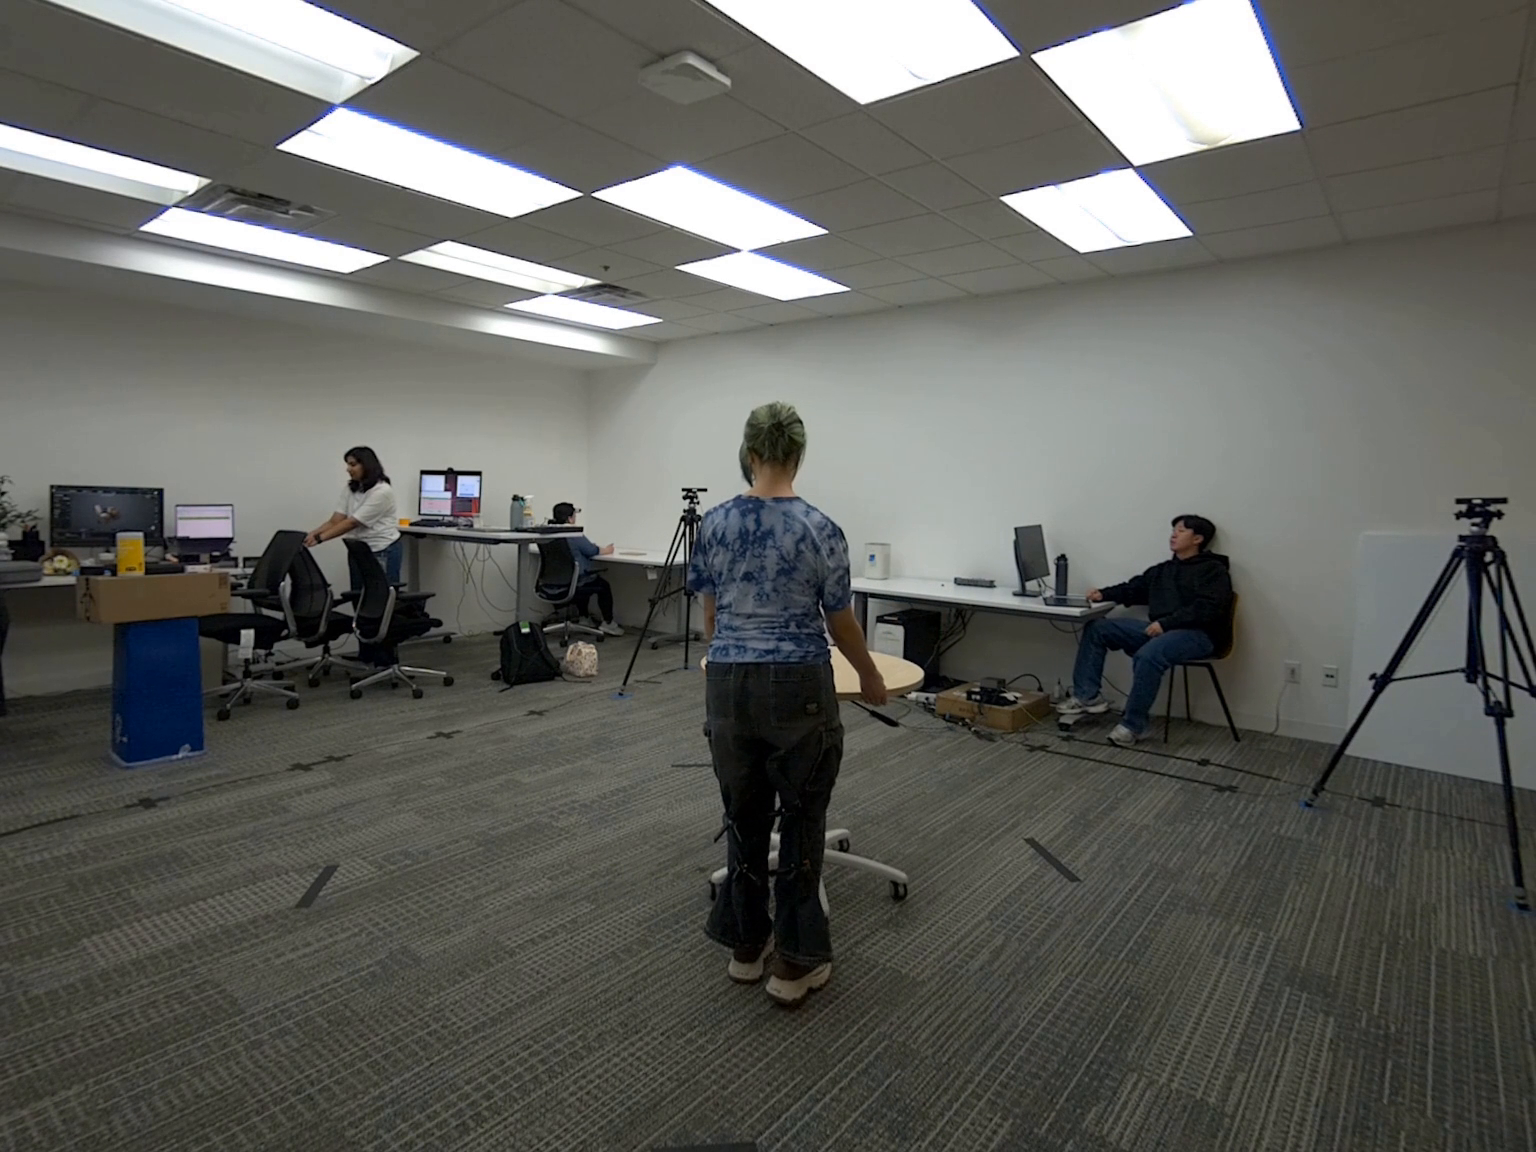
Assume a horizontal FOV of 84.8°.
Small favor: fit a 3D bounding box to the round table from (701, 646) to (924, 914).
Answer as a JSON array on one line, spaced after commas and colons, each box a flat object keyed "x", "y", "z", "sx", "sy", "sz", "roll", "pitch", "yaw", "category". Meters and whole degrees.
[{"x": 0.124, "y": 0.698, "z": 2.978, "sx": 0.763, "sy": 0.791, "sz": 0.768, "roll": 1, "pitch": 5, "yaw": -2, "category": "round table"}]
